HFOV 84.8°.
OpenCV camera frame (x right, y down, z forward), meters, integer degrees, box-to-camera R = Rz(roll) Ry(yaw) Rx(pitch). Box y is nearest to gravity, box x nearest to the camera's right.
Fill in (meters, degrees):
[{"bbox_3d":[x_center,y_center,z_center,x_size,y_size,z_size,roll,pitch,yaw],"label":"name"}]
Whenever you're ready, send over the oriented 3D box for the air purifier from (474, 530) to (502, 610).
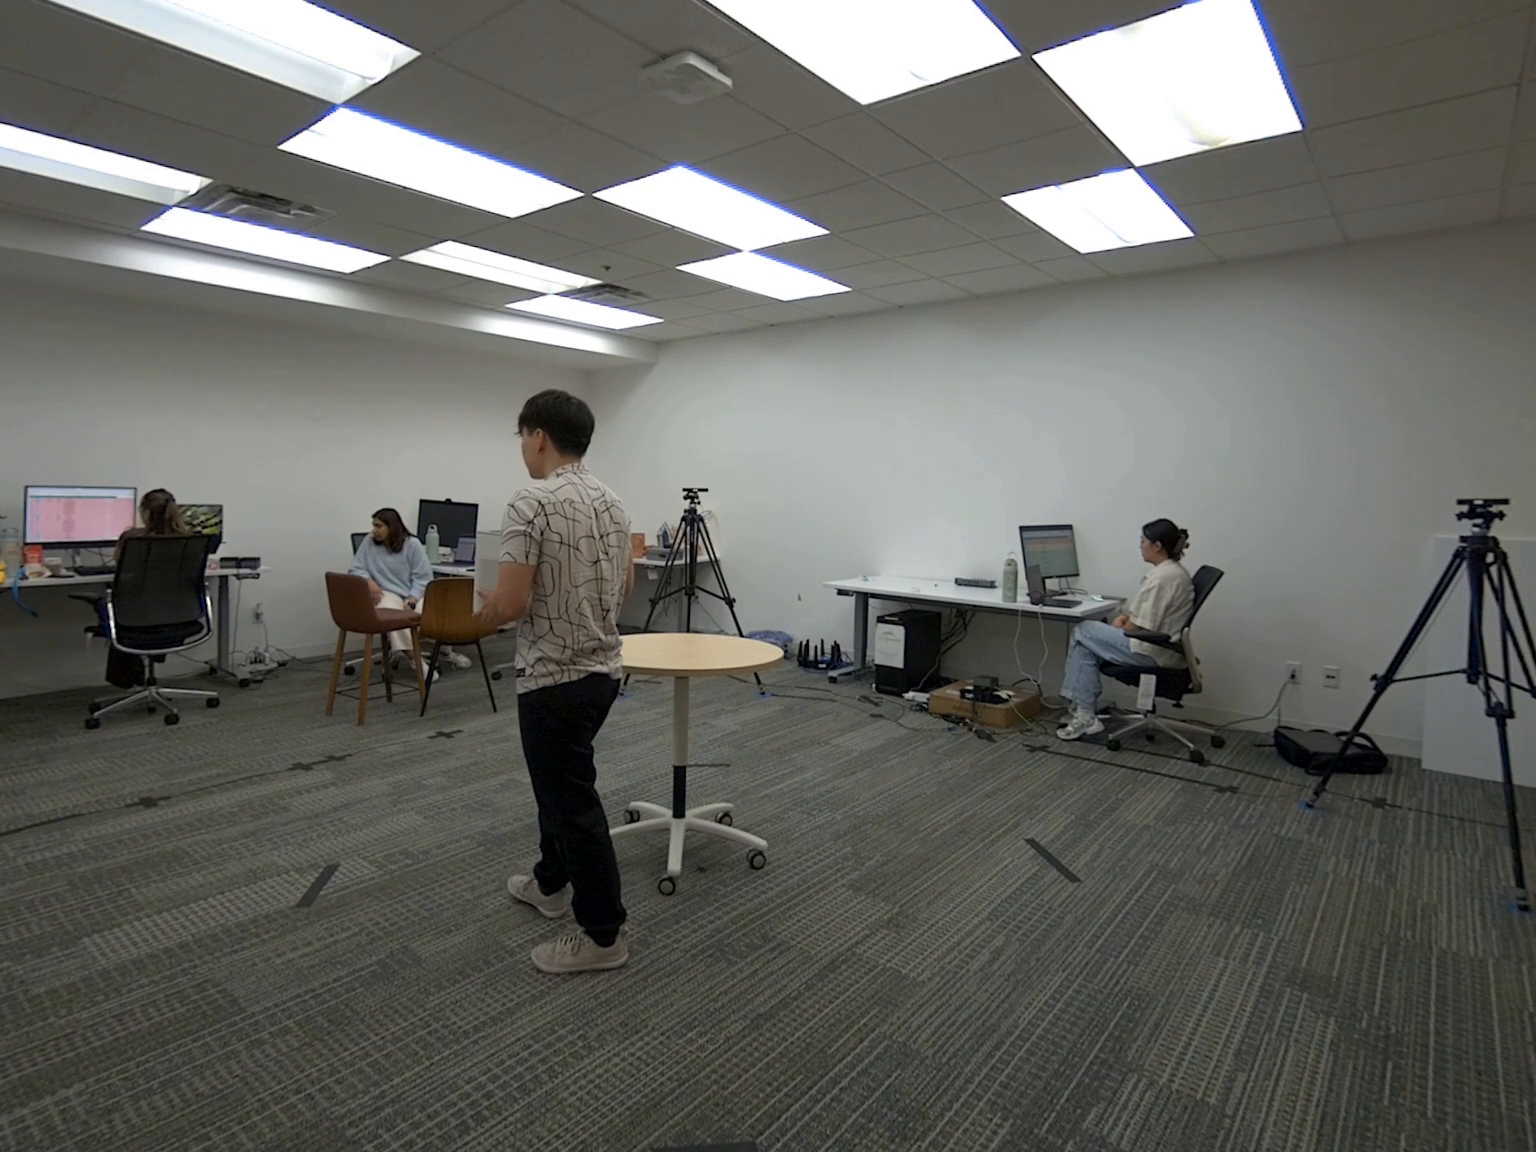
[{"bbox_3d":[-0.810,-0.001,2.613,0.176,0.264,0.168,9,8,20],"label":"air purifier"}]
